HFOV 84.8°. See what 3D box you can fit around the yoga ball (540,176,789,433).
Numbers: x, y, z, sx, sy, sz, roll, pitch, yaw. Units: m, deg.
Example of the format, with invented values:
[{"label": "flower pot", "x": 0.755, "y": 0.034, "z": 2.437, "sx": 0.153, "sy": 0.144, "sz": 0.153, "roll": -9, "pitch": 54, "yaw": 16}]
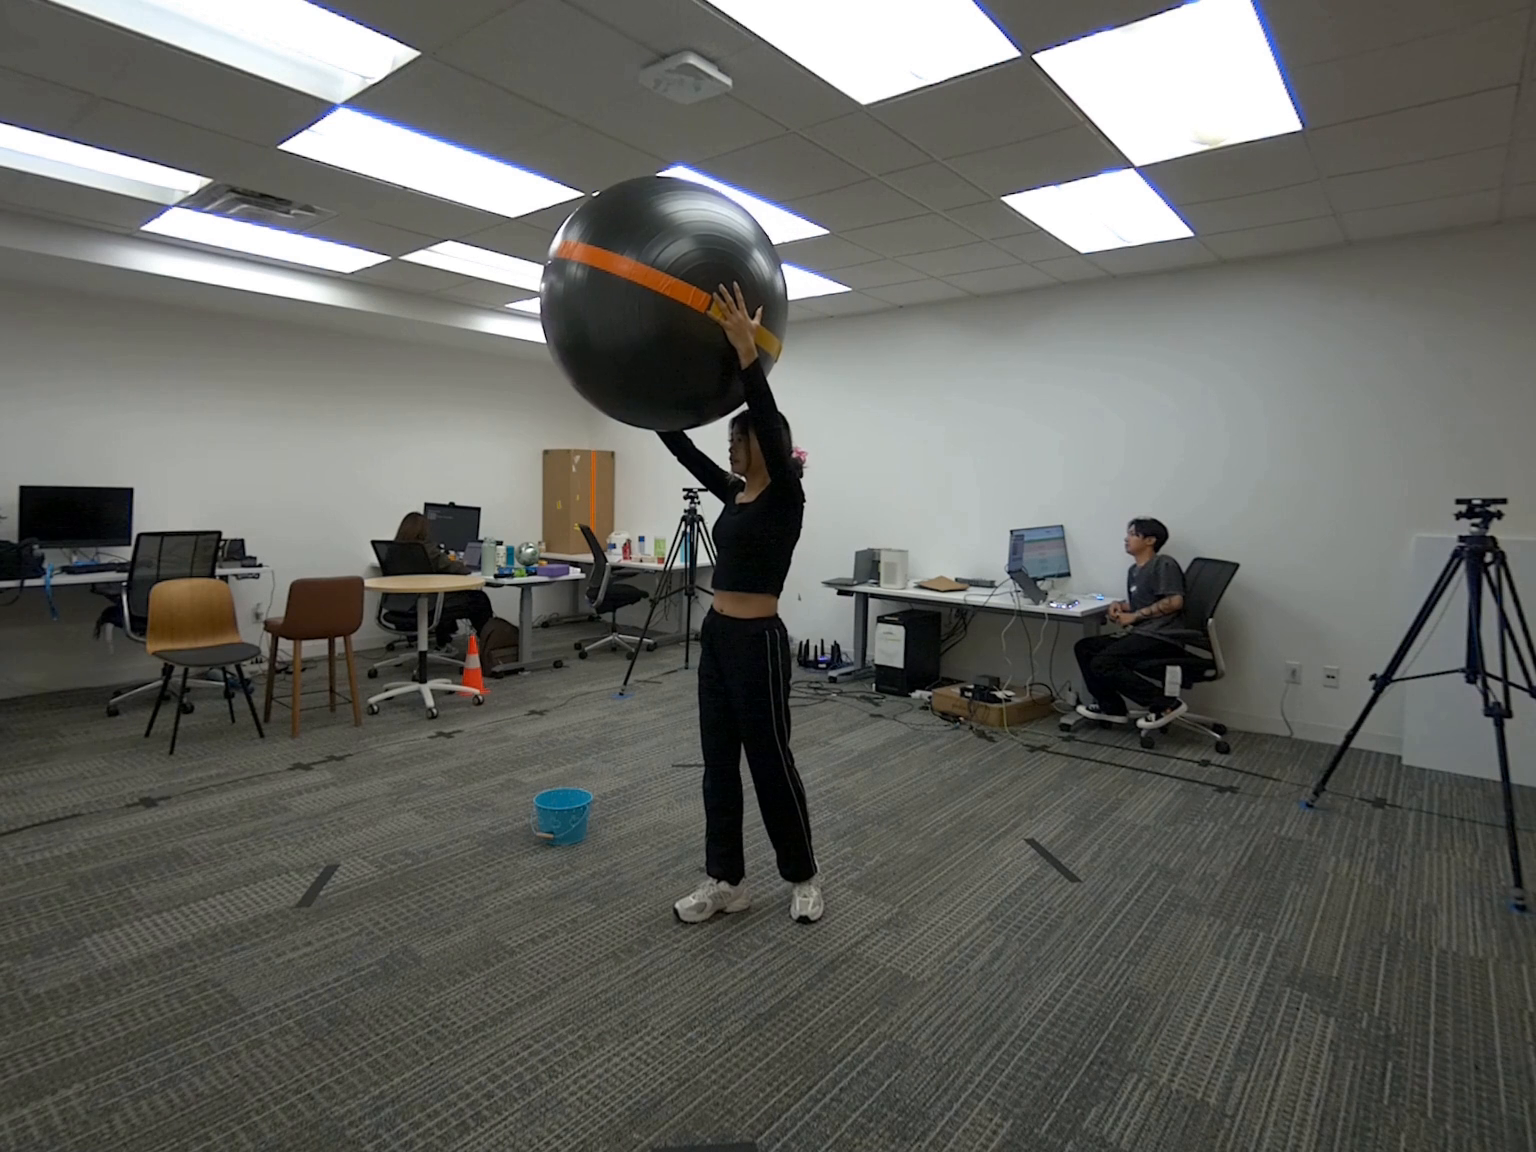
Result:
[{"label": "yoga ball", "x": -0.322, "y": -0.823, "z": 2.615, "sx": 0.757, "sy": 0.755, "sz": 0.762, "roll": 1, "pitch": 4, "yaw": -2}]
